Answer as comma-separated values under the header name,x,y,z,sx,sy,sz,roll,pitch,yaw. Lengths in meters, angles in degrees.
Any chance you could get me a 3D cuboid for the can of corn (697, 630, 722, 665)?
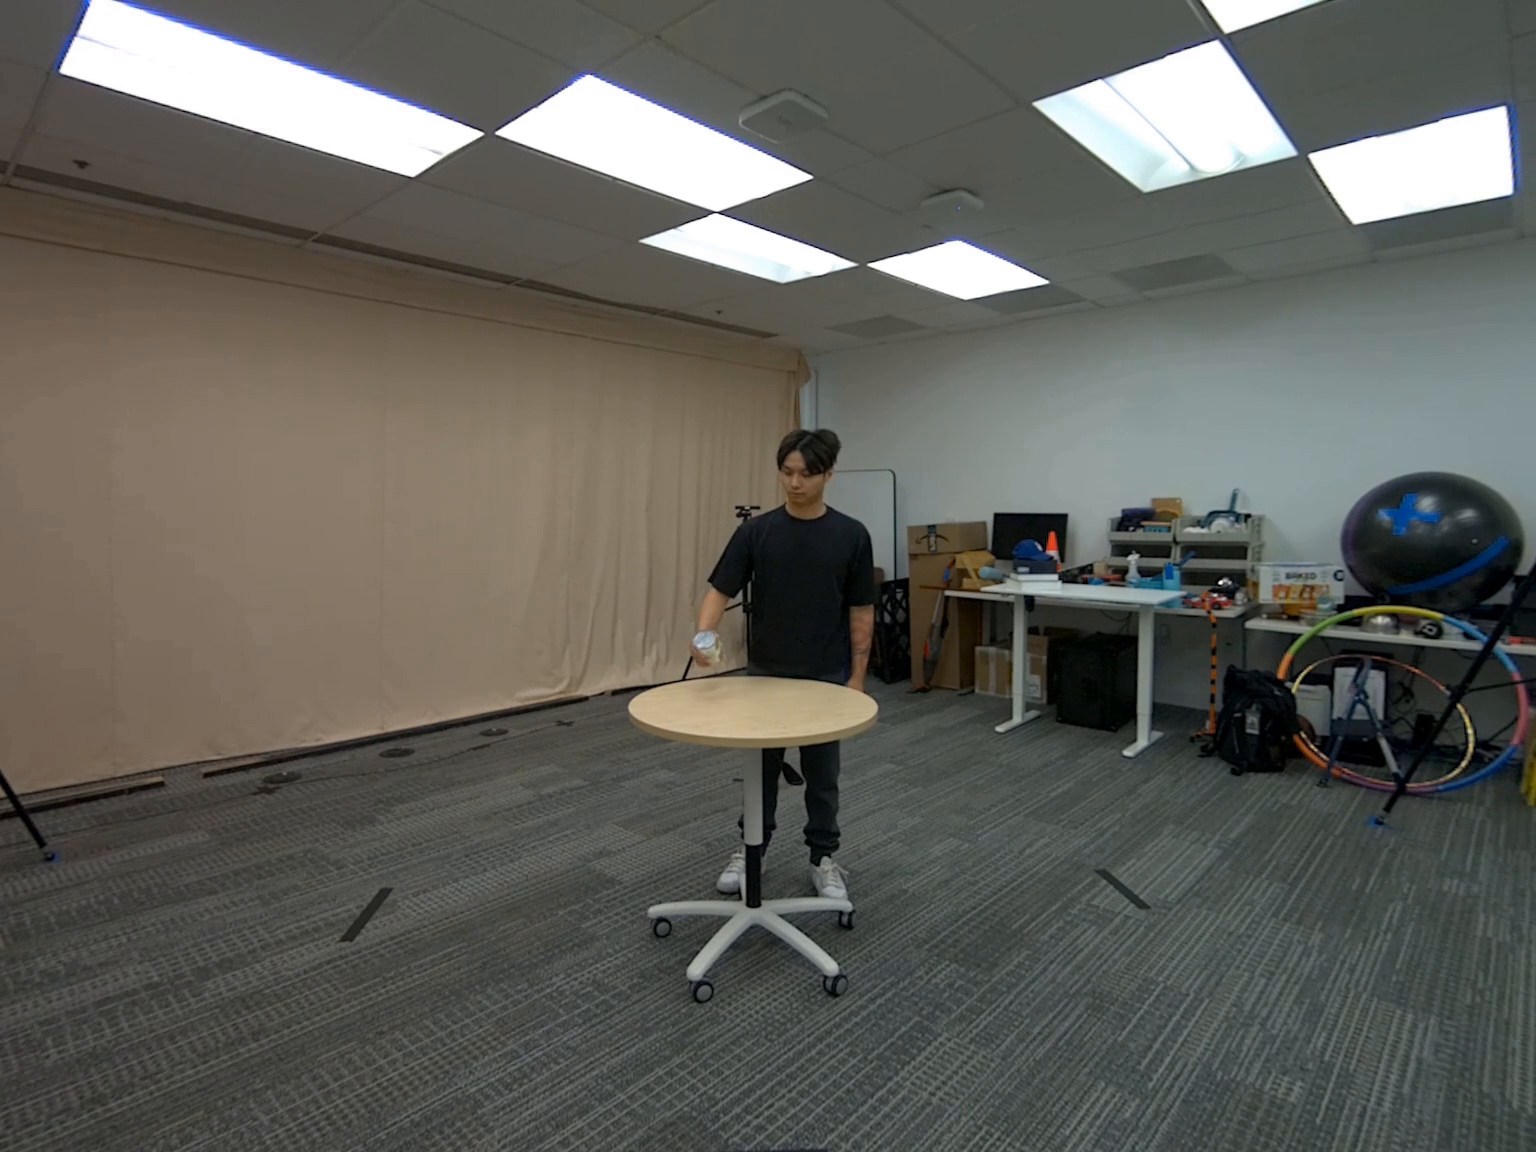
name,x,y,z,sx,sy,sz,roll,pitch,yaw
can of corn,-0.157,0.235,2.703,0.074,0.109,0.075,4,41,-5
